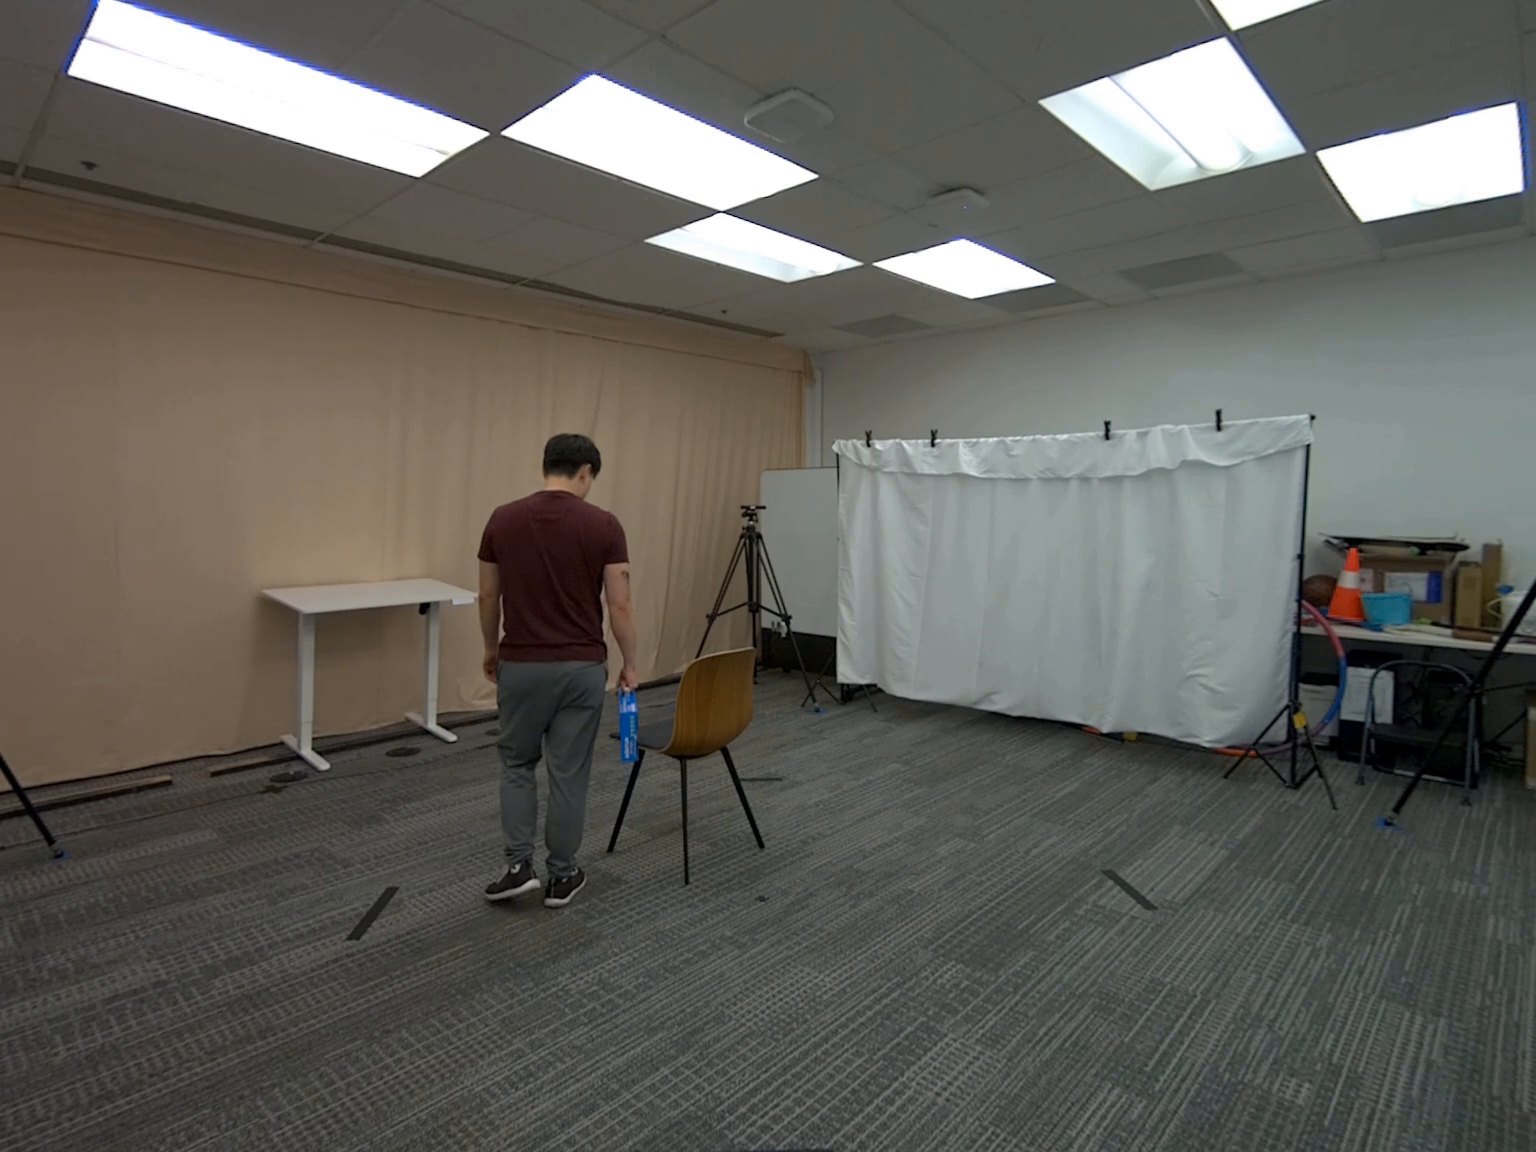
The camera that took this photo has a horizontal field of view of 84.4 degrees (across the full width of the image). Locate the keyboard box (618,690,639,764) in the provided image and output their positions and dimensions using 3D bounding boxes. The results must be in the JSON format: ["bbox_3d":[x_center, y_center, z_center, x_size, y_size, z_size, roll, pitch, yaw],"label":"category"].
[{"bbox_3d":[-0.511,0.512,3.022,0.058,0.175,0.444,-2,8,-13],"label":"keyboard box"}]
